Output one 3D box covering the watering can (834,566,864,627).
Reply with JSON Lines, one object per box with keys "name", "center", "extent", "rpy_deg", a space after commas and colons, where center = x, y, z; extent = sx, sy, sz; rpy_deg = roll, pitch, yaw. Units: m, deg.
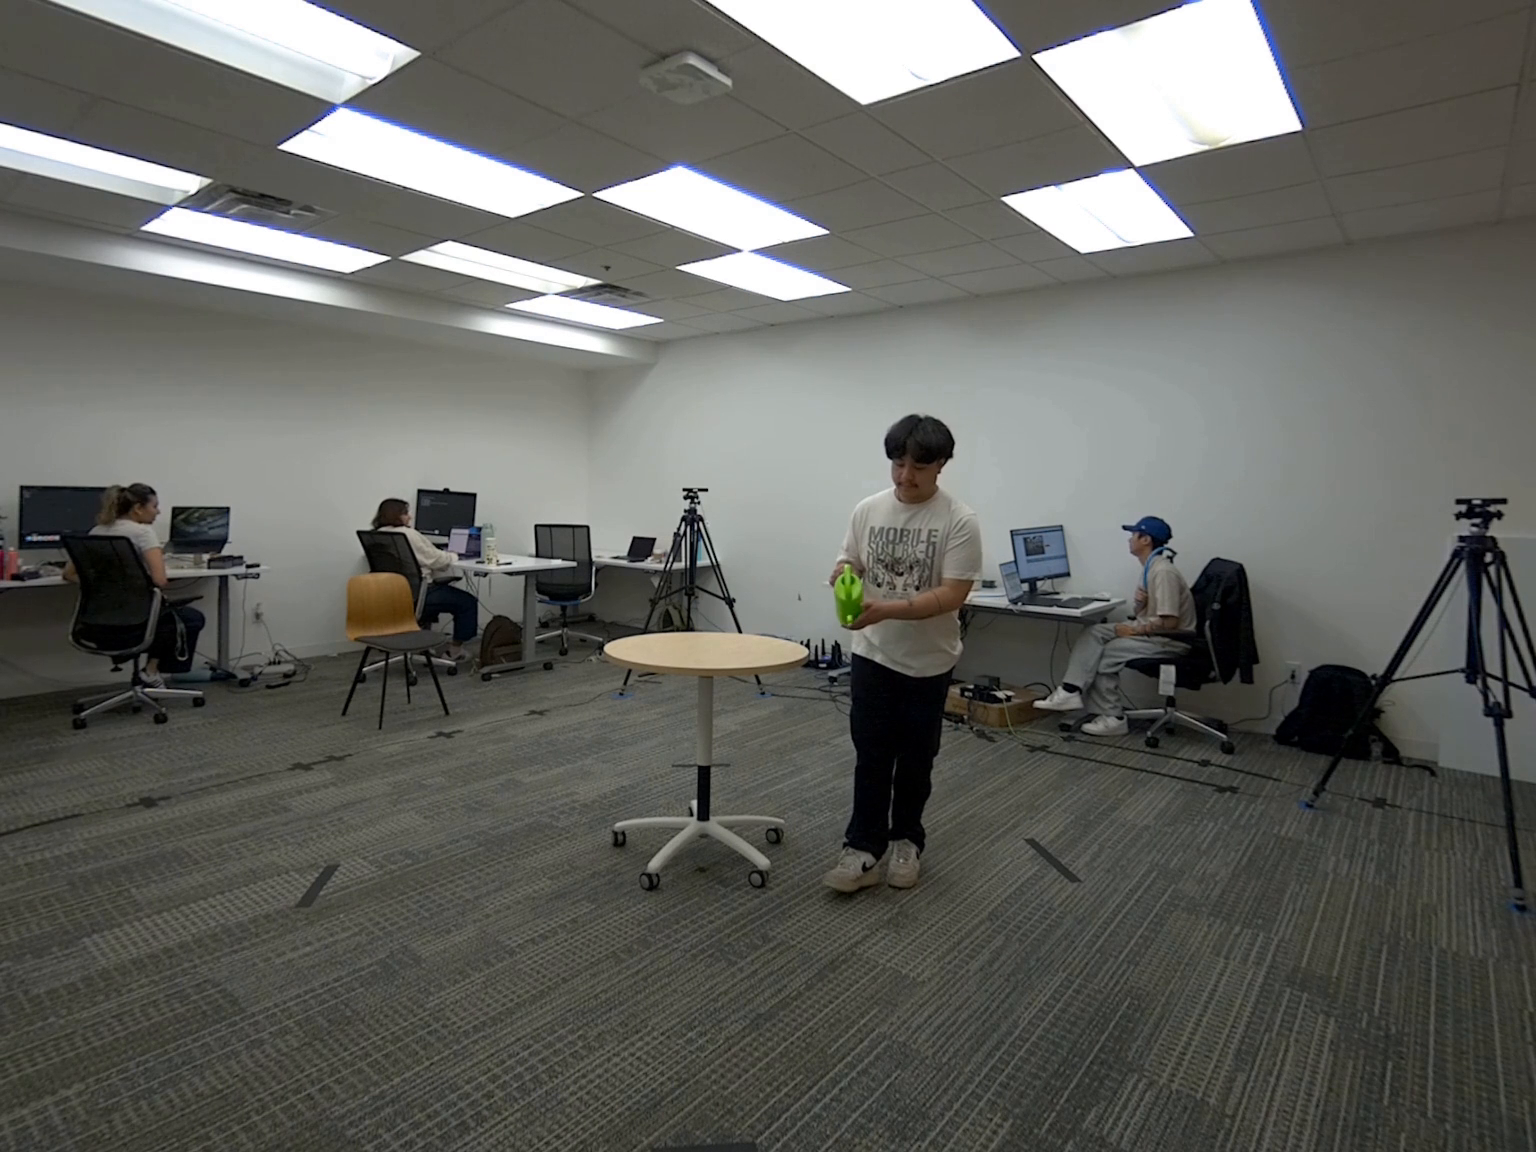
{"name": "watering can", "center": [0.251, 0.100, 2.781], "extent": [0.100, 0.171, 0.282], "rpy_deg": [9, 49, 17]}
